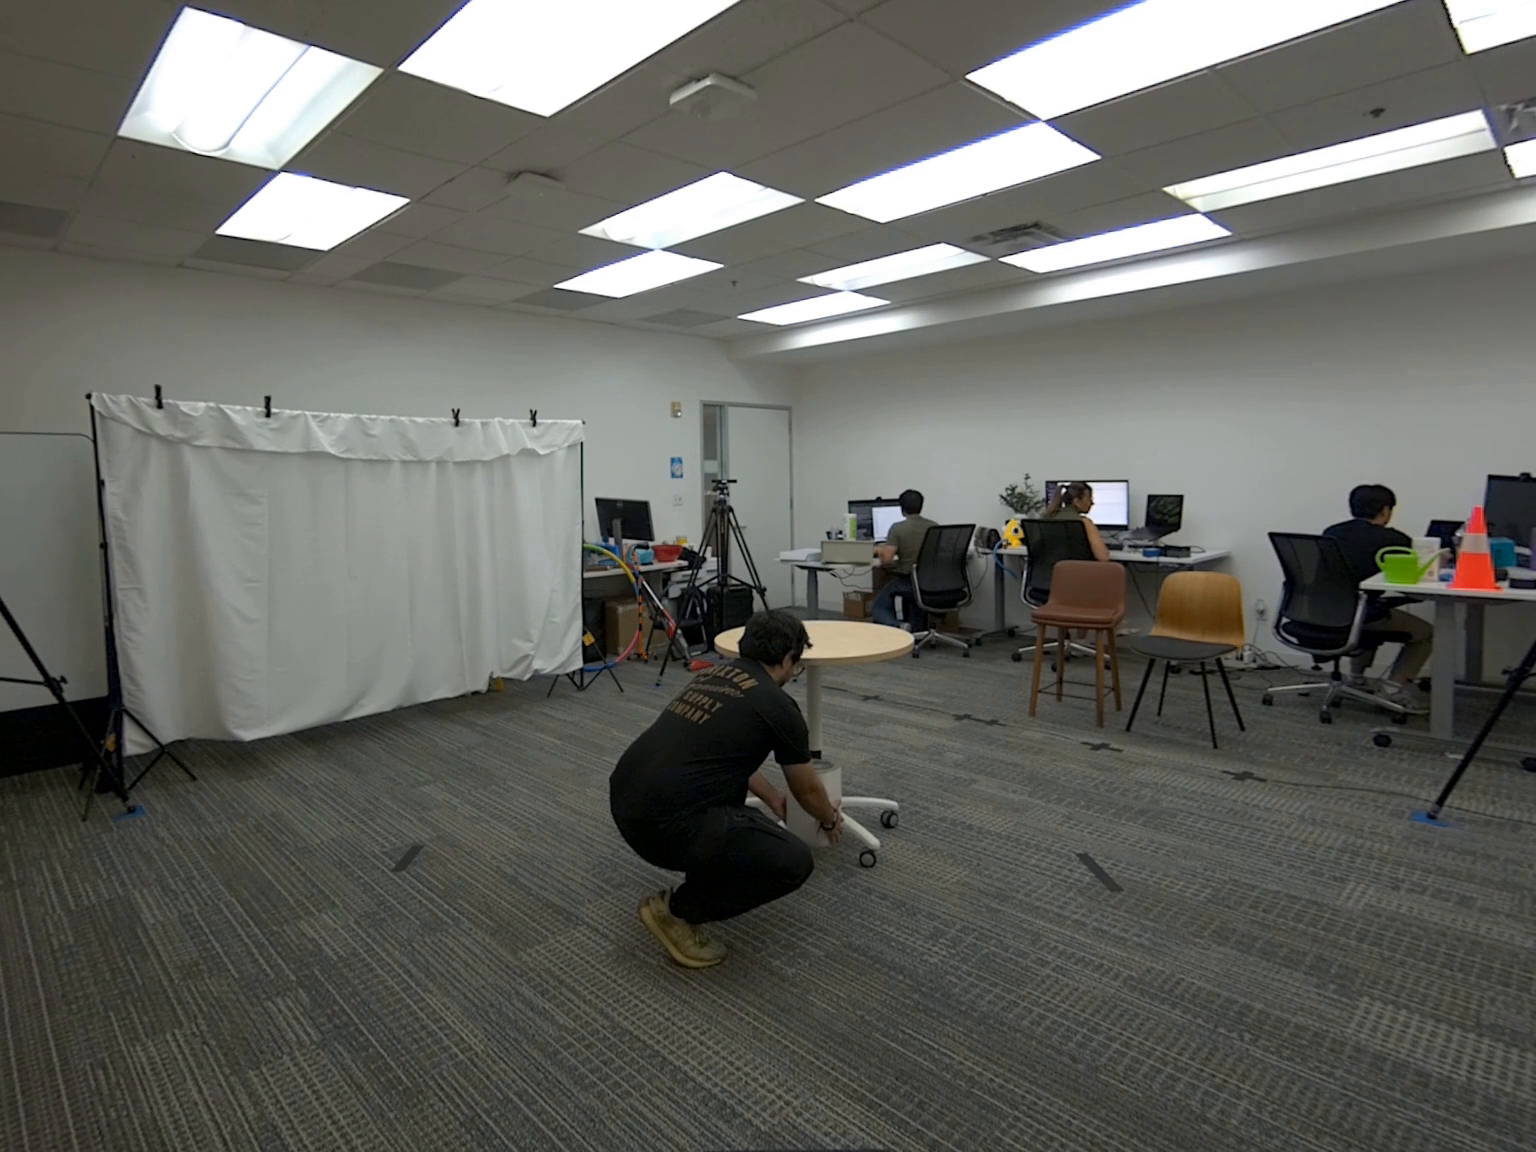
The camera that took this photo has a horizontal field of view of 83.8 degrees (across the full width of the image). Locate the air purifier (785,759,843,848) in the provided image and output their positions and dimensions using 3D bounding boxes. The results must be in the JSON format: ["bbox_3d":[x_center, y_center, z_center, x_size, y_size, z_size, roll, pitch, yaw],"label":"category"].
[{"bbox_3d":[0.172,0.811,3.039,0.175,0.266,0.167,-3,-1,31],"label":"air purifier"}]
